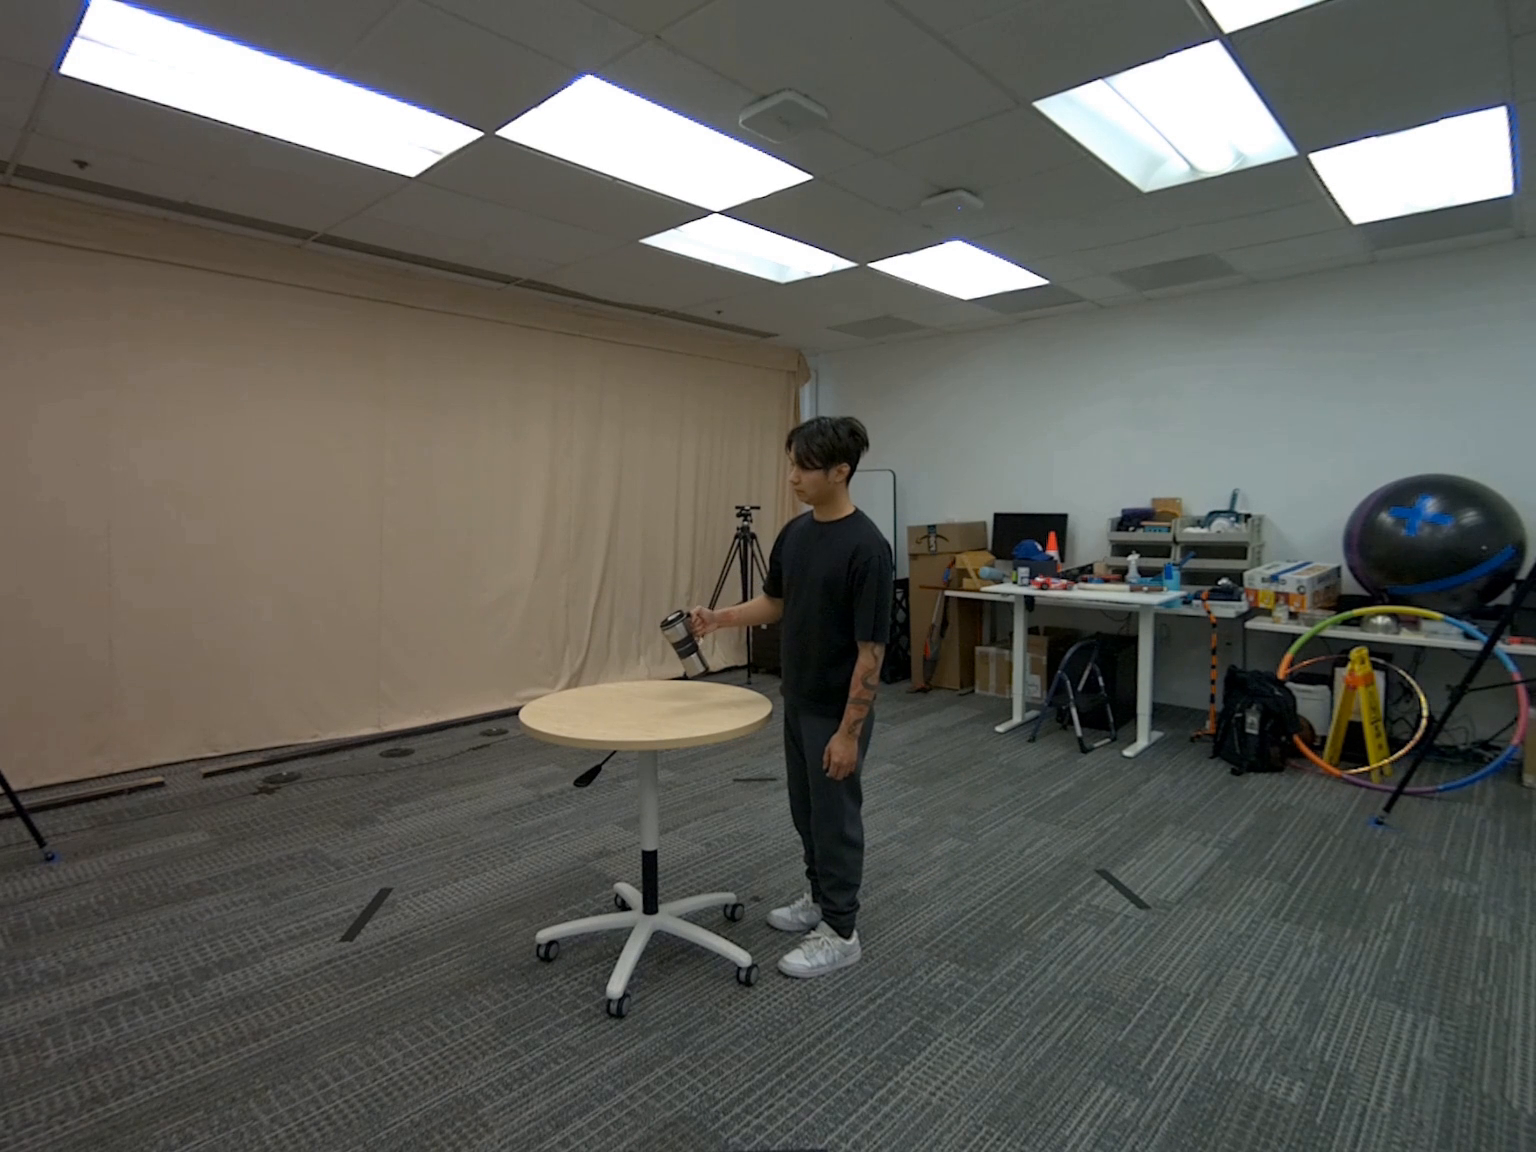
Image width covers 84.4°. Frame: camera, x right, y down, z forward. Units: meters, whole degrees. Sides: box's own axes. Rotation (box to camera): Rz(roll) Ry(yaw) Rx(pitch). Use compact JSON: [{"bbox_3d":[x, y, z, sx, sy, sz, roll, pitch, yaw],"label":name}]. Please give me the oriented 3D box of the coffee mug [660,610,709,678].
[{"bbox_3d":[-0.233,0.216,2.578,0.125,0.202,0.086,-22,5,38],"label":"coffee mug"}]
